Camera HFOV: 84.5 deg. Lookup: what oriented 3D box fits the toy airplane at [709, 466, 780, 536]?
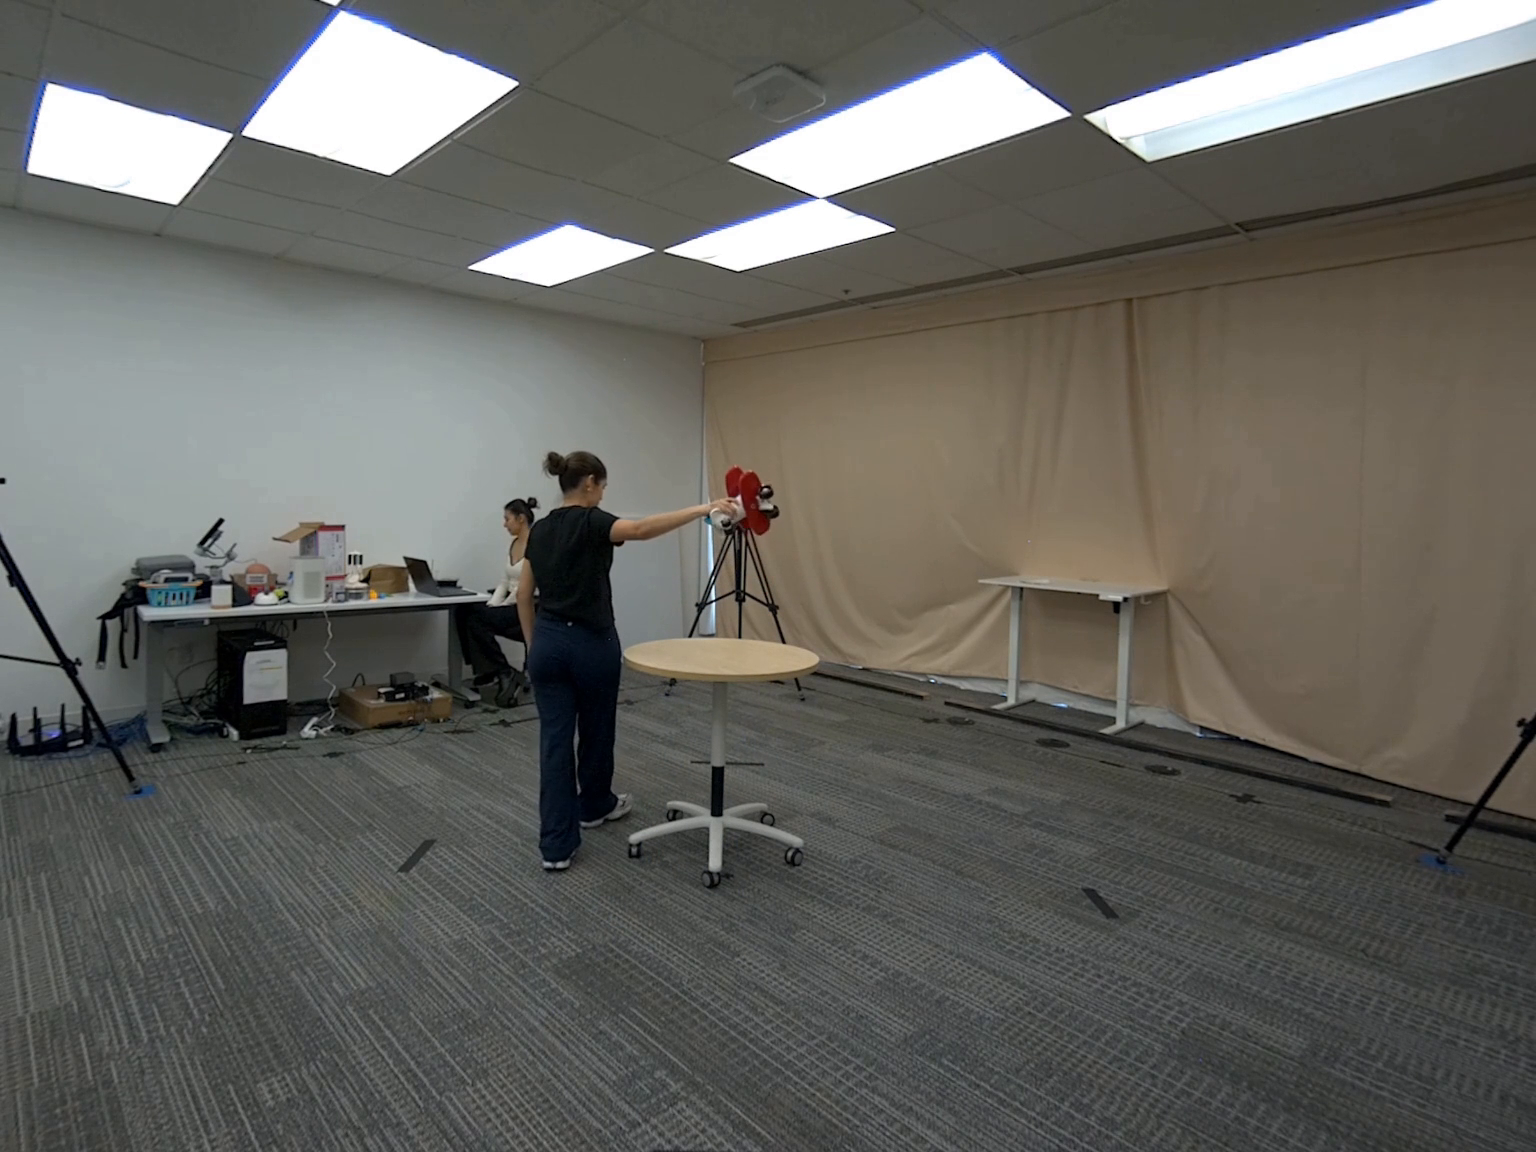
[{"bbox_3d":[-0.098,-0.244,2.948,0.254,0.248,0.161,-3,26,-30],"label":"toy airplane"}]
